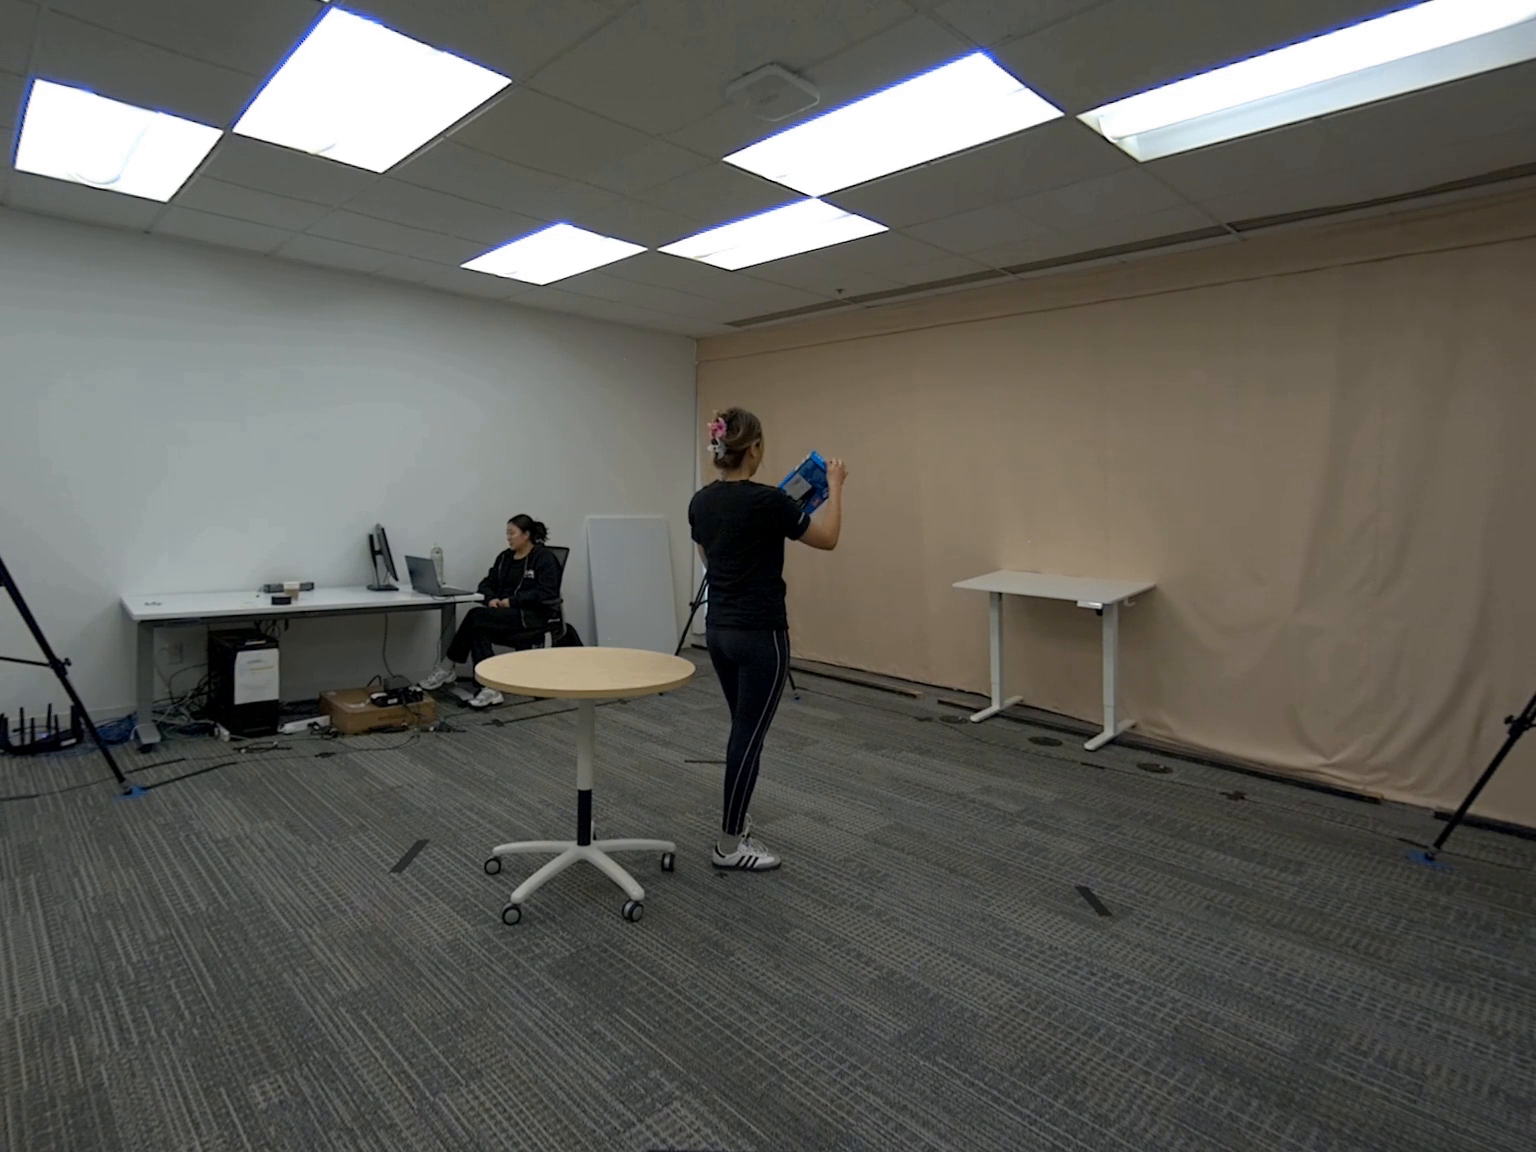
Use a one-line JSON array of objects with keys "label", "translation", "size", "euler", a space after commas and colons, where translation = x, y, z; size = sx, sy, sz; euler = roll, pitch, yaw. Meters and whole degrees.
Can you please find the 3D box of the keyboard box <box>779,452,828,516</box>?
[{"label": "keyboard box", "translation": [0.102, -0.312, 3.462], "size": [0.437, 0.175, 0.059], "euler": [-44, 9, 39]}]
